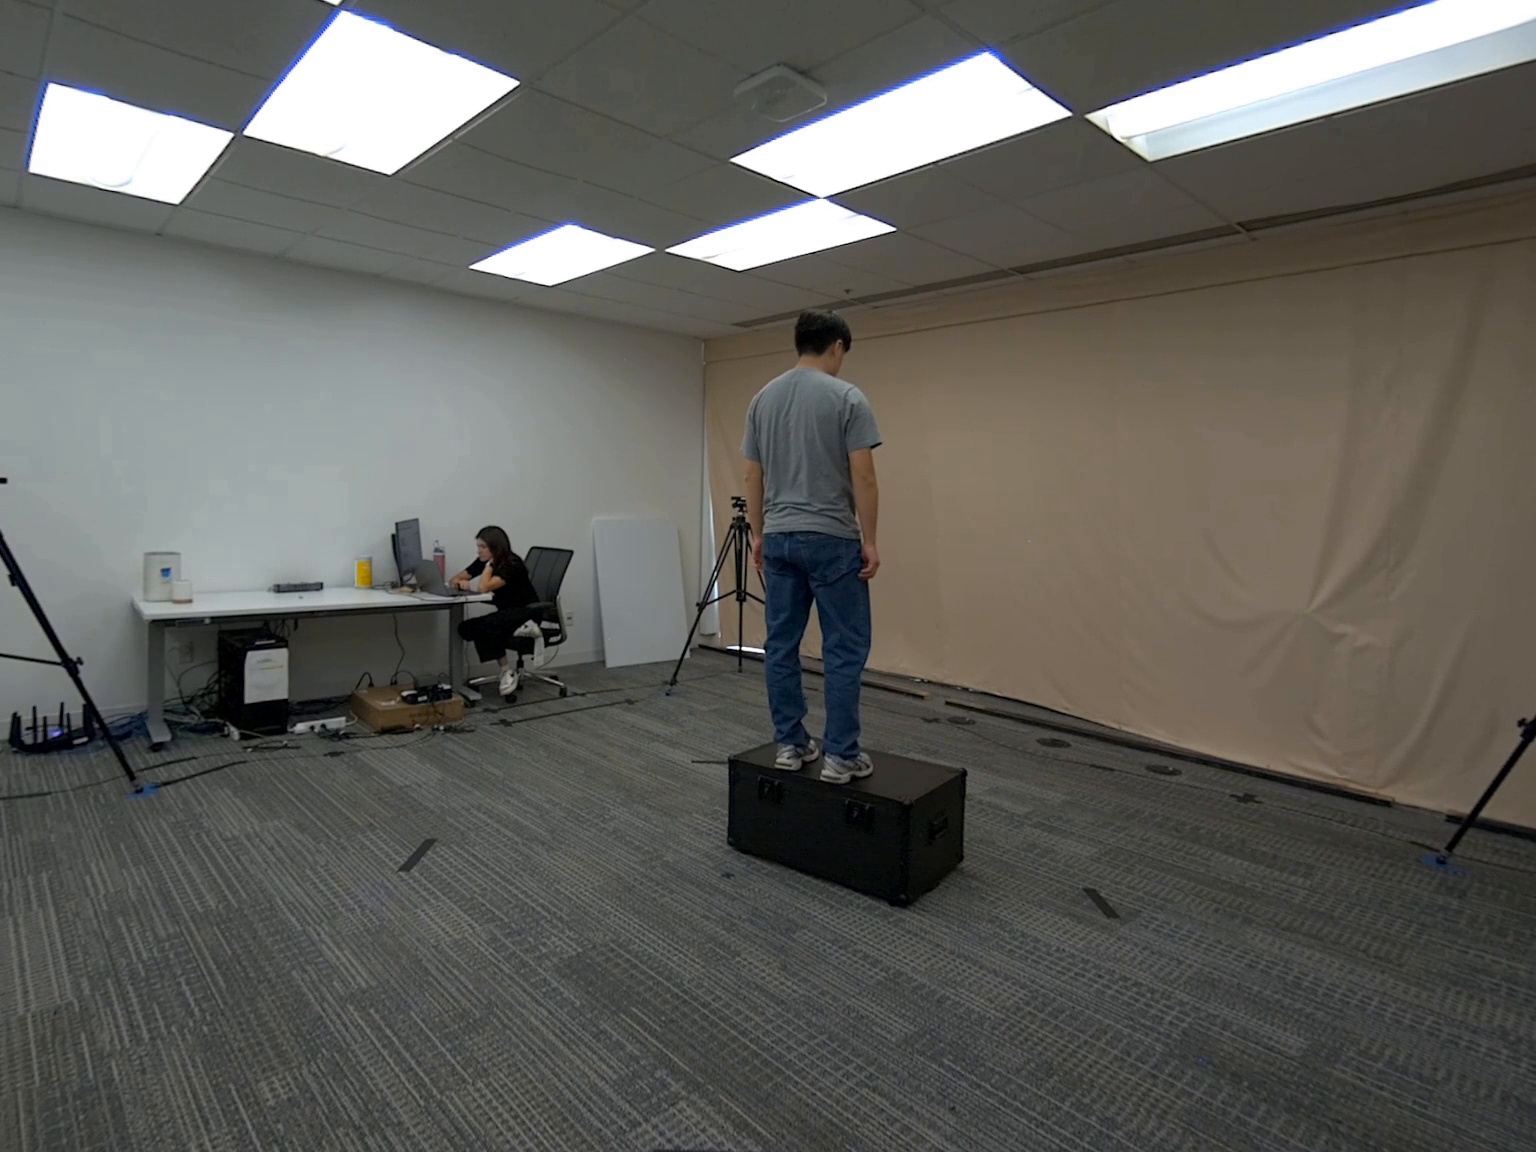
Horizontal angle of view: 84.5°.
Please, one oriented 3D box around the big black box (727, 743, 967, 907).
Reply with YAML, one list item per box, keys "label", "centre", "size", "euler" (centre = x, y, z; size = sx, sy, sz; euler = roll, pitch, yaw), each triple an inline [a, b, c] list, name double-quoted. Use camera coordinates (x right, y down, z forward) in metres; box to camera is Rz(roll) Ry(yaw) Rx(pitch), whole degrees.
- label: "big black box"
  centre: [0.264, 0.911, 3.291]
  size: [0.883, 0.395, 0.510]
  euler: [5, 6, 37]
